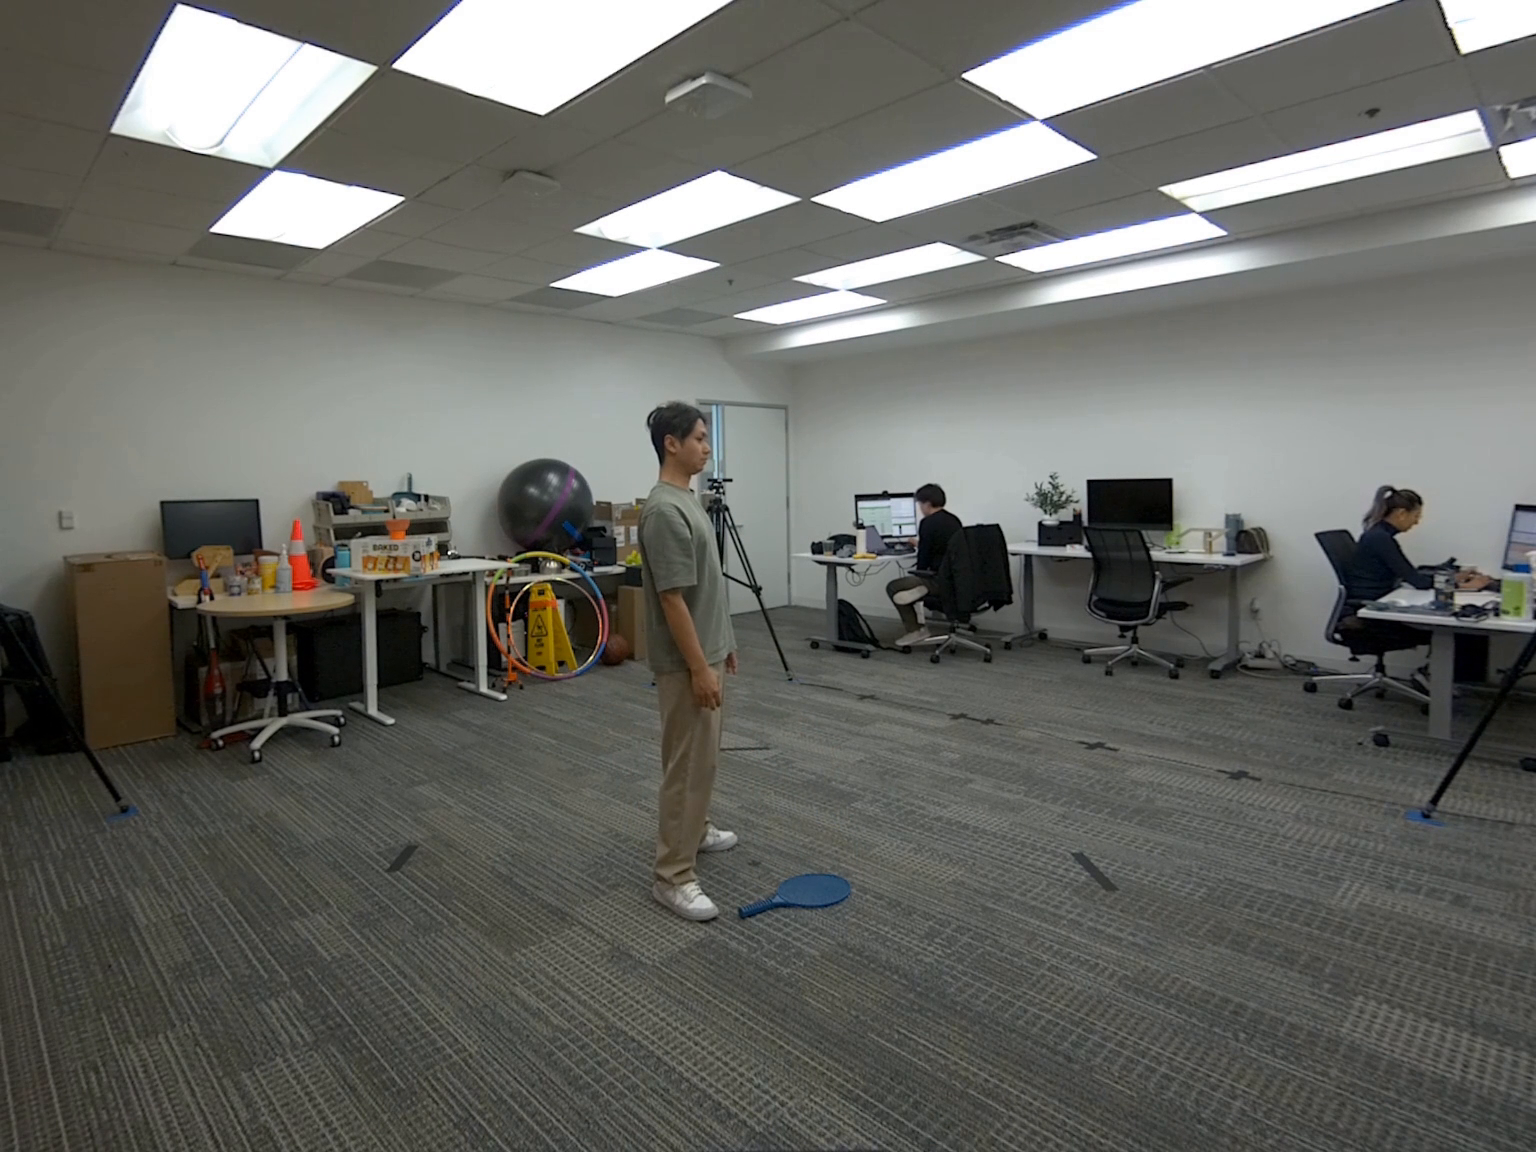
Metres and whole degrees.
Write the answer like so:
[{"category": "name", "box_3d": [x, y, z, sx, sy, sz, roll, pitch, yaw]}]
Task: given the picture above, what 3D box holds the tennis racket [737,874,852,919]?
[{"category": "tennis racket", "box_3d": [0.087, 1.060, 2.845, 0.422, 0.031, 0.220, -4, 7, -32]}]
